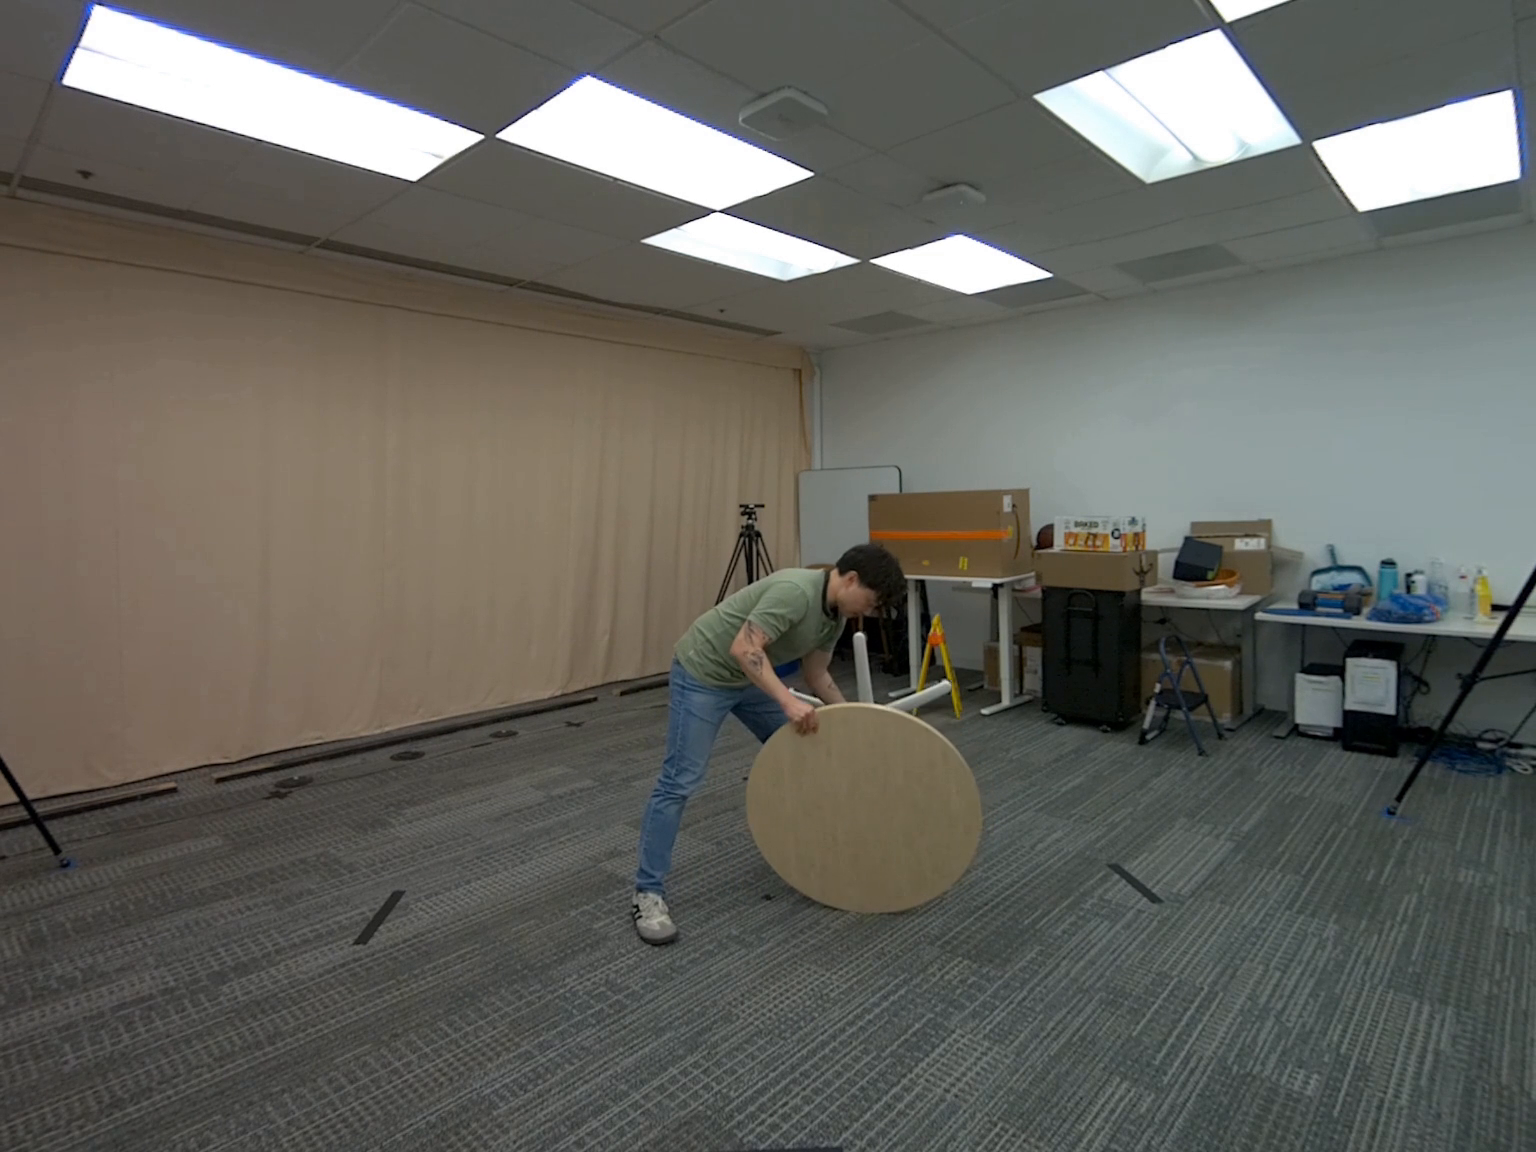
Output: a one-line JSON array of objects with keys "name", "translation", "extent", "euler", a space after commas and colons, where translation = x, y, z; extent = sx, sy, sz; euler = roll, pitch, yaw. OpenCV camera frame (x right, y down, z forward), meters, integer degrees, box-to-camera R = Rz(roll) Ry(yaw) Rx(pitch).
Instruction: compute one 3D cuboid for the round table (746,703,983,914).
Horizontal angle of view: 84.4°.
[{"name": "round table", "translation": [0.369, 0.660, 3.131], "extent": [0.774, 0.756, 0.792], "euler": [0, 16, 11]}]
